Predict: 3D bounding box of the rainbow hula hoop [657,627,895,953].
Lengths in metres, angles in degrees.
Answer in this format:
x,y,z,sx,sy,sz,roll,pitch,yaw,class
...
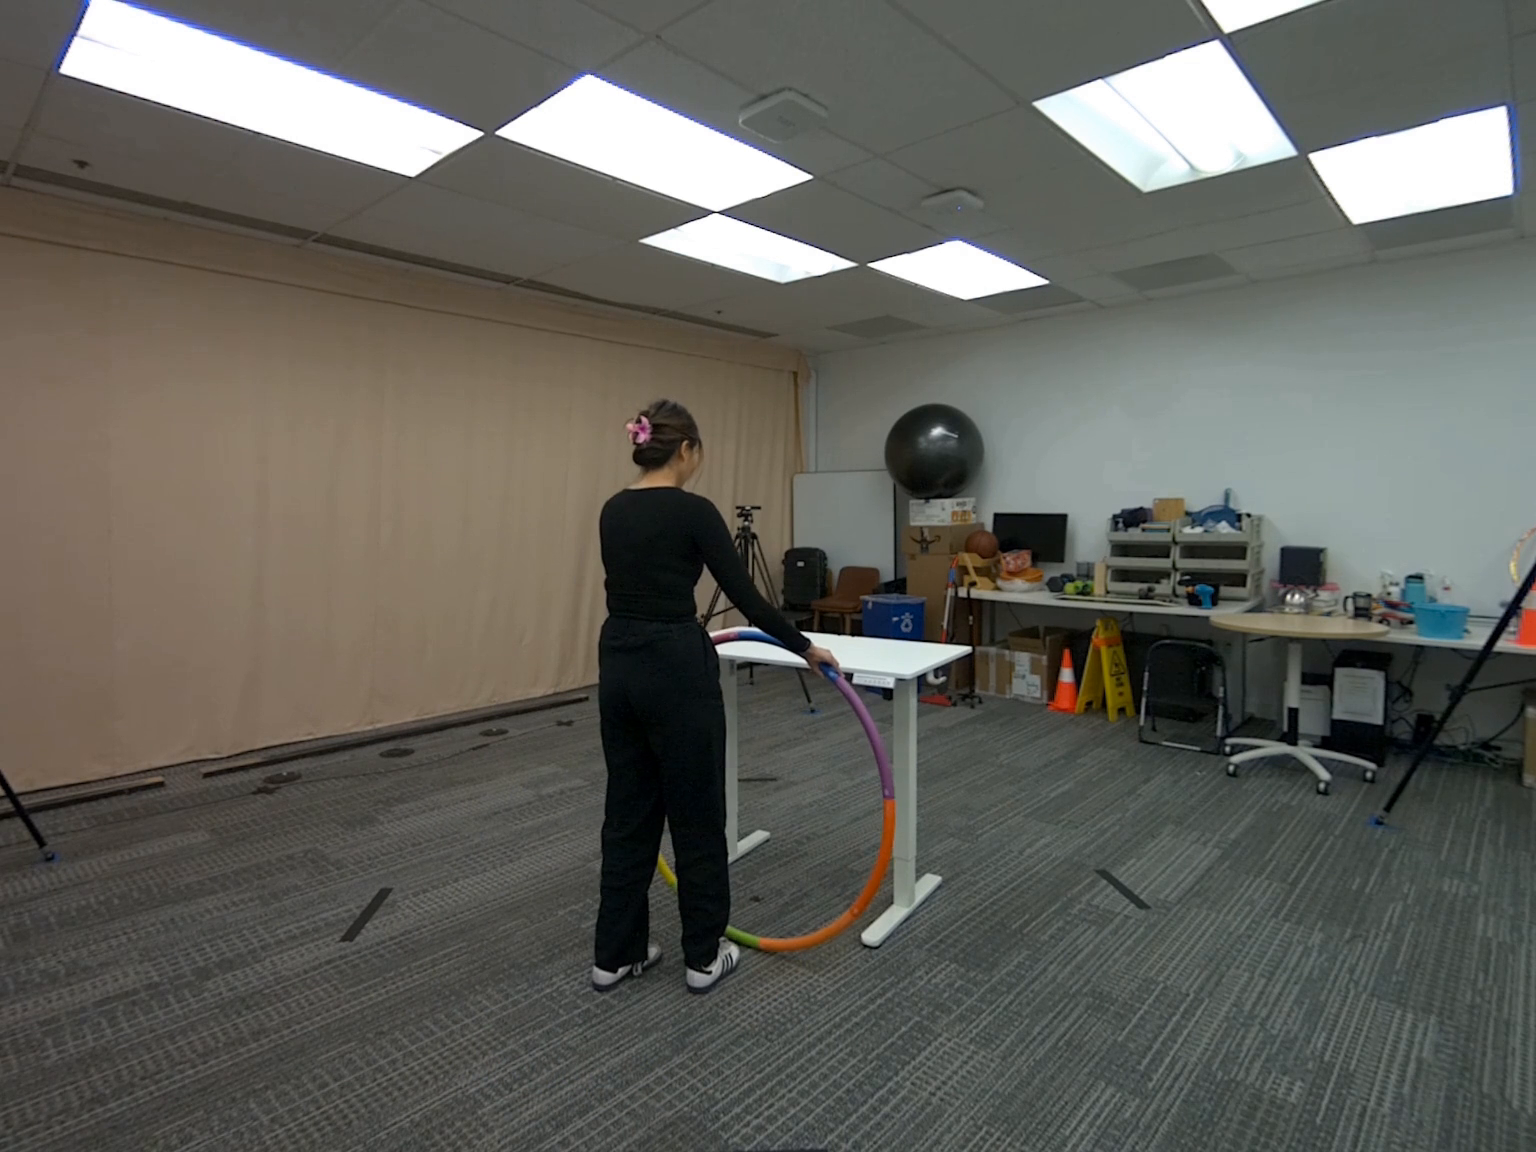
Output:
x,y,z,sx,sy,sz,roll,pitch,yaw,class
-0.053,0.671,2.673,1.009,0.979,0.034,3,-1,34,rainbow hula hoop
